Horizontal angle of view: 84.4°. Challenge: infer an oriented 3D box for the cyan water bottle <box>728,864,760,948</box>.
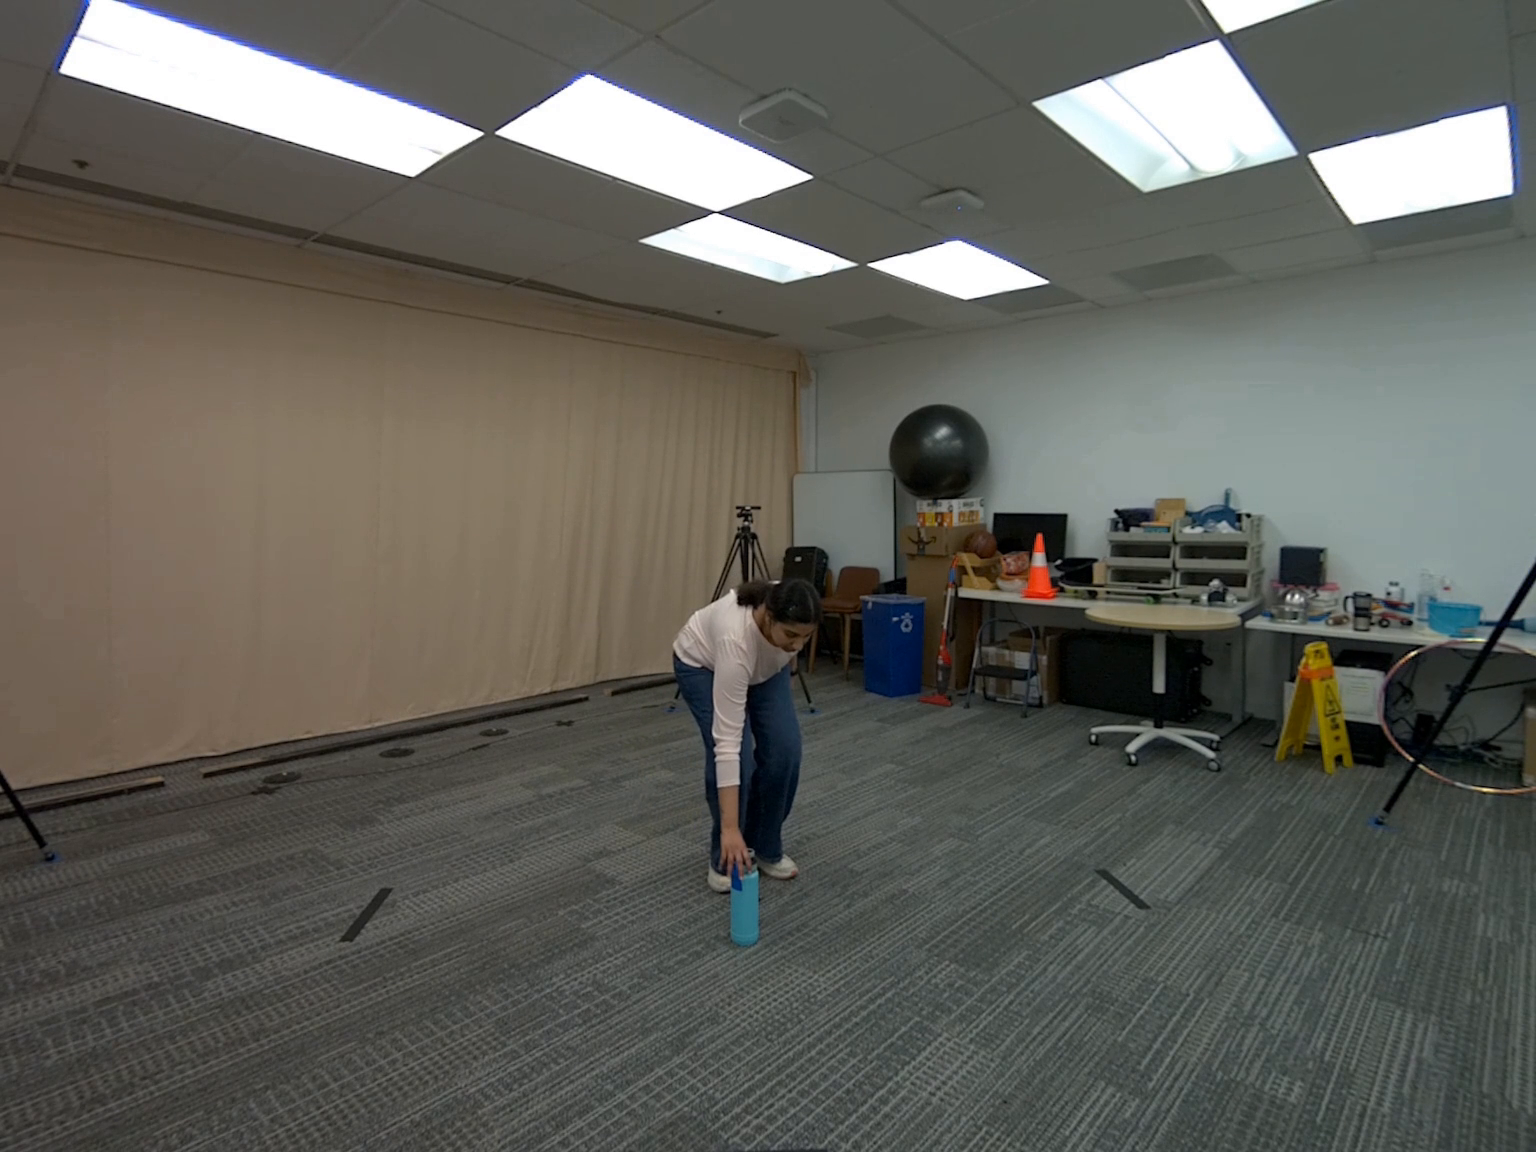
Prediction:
[{"bbox_3d":[-0.076,1.025,2.708,0.092,0.283,0.092,0,3,-2],"label":"cyan water bottle"}]
